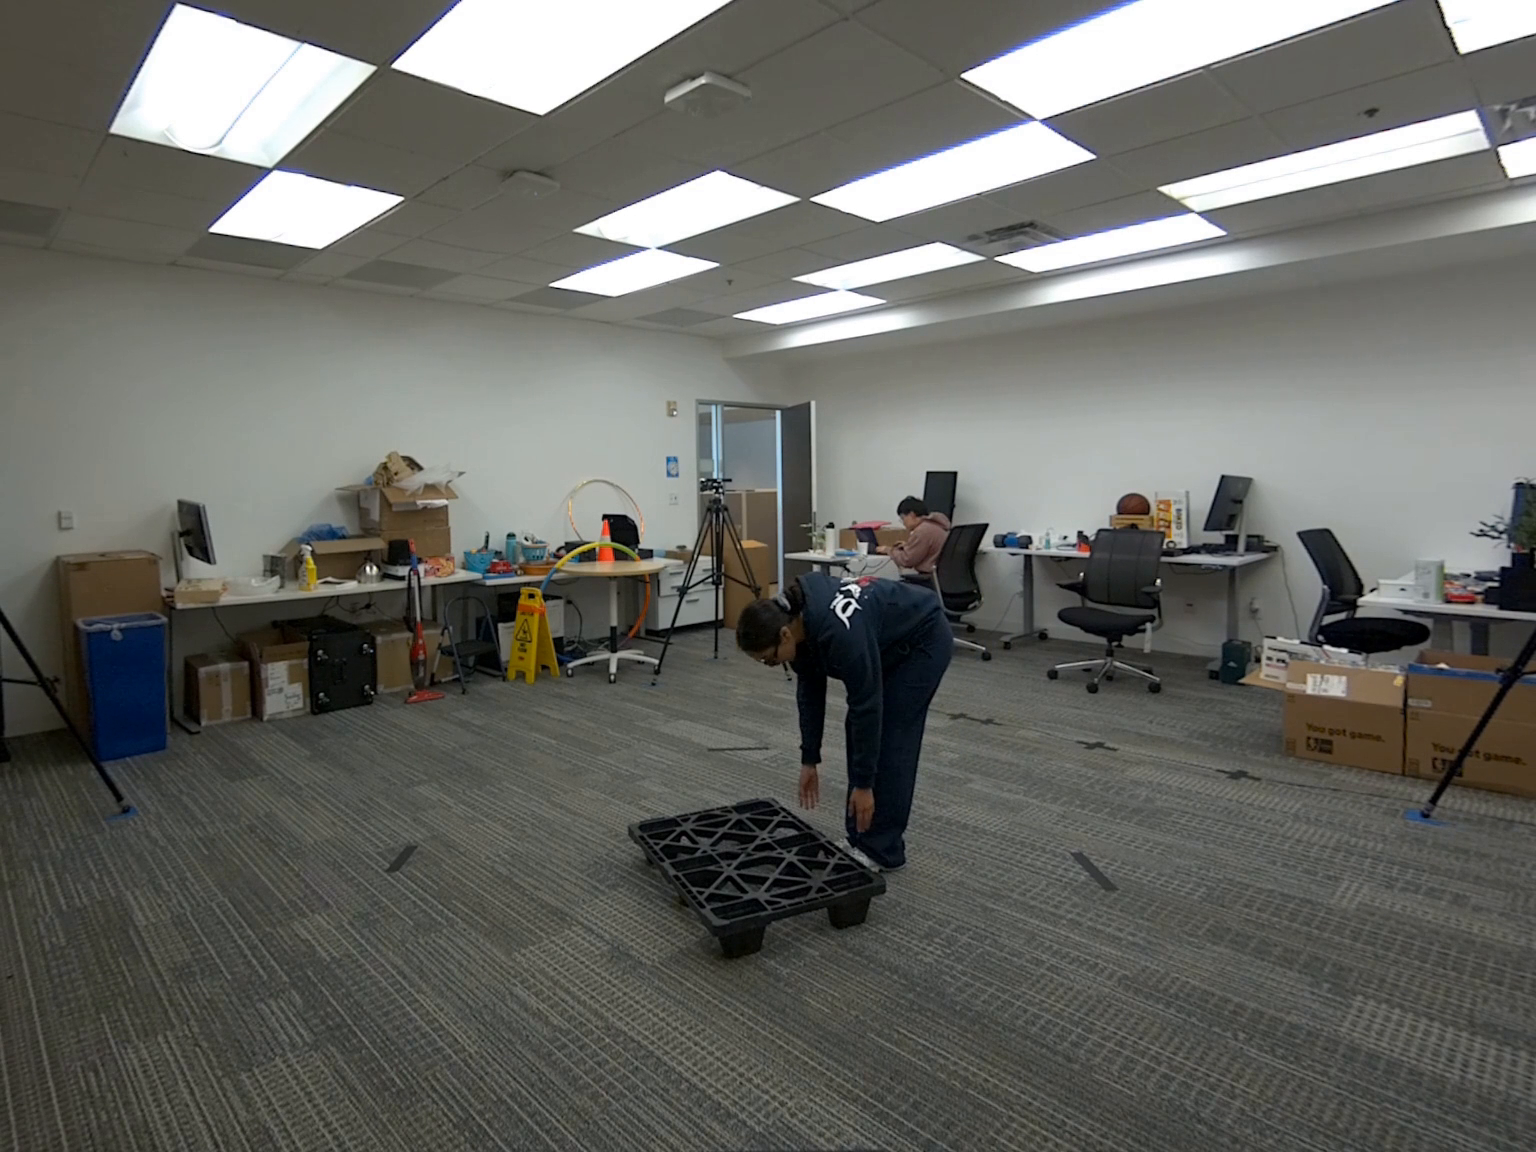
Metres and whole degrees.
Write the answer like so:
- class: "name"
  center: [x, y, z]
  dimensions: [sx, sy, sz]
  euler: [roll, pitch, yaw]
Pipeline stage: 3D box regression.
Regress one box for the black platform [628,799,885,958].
- class: "black platform"
  center: [-0.073, 1.003, 2.906]
  dimensions: [0.593, 0.142, 0.826]
  euler: [-5, 7, -26]
